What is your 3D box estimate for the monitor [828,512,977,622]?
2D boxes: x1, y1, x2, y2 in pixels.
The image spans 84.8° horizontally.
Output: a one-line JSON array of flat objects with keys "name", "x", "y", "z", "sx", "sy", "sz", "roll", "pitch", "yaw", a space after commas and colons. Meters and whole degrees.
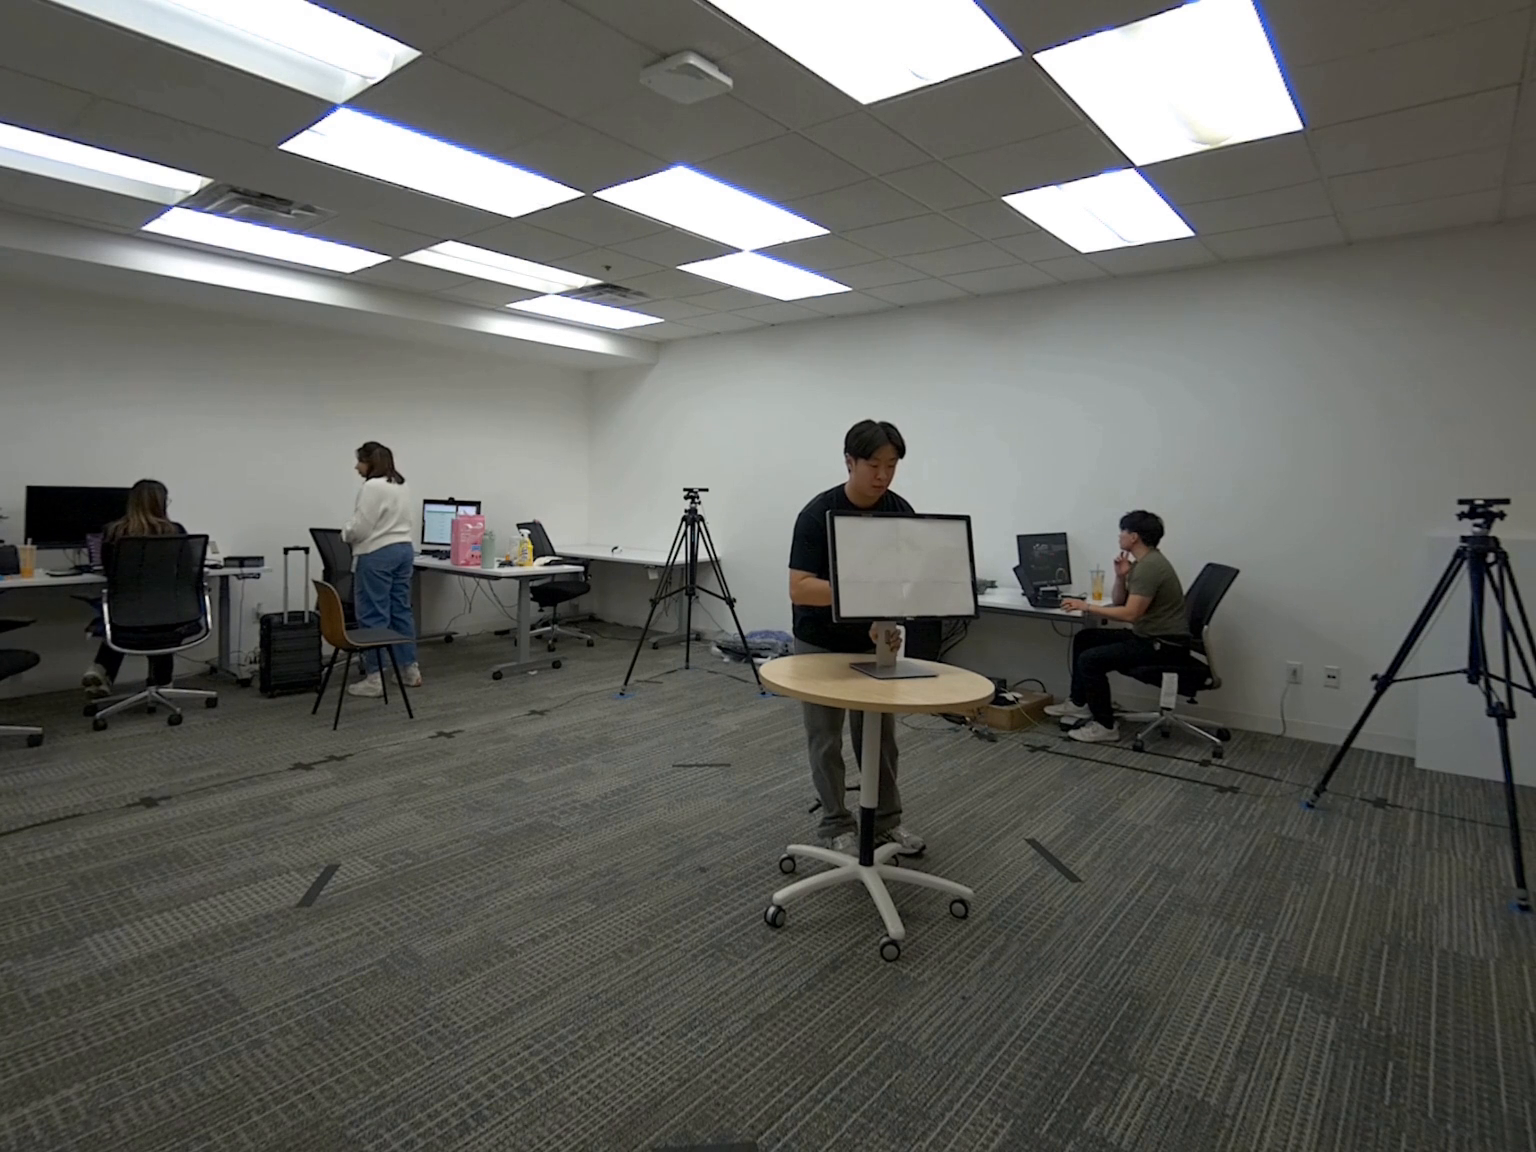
[{"name": "monitor", "x": 0.443, "y": 0.061, "z": 2.886, "sx": 0.551, "sy": 0.563, "sz": 0.227, "roll": 0, "pitch": 6, "yaw": -18}]
